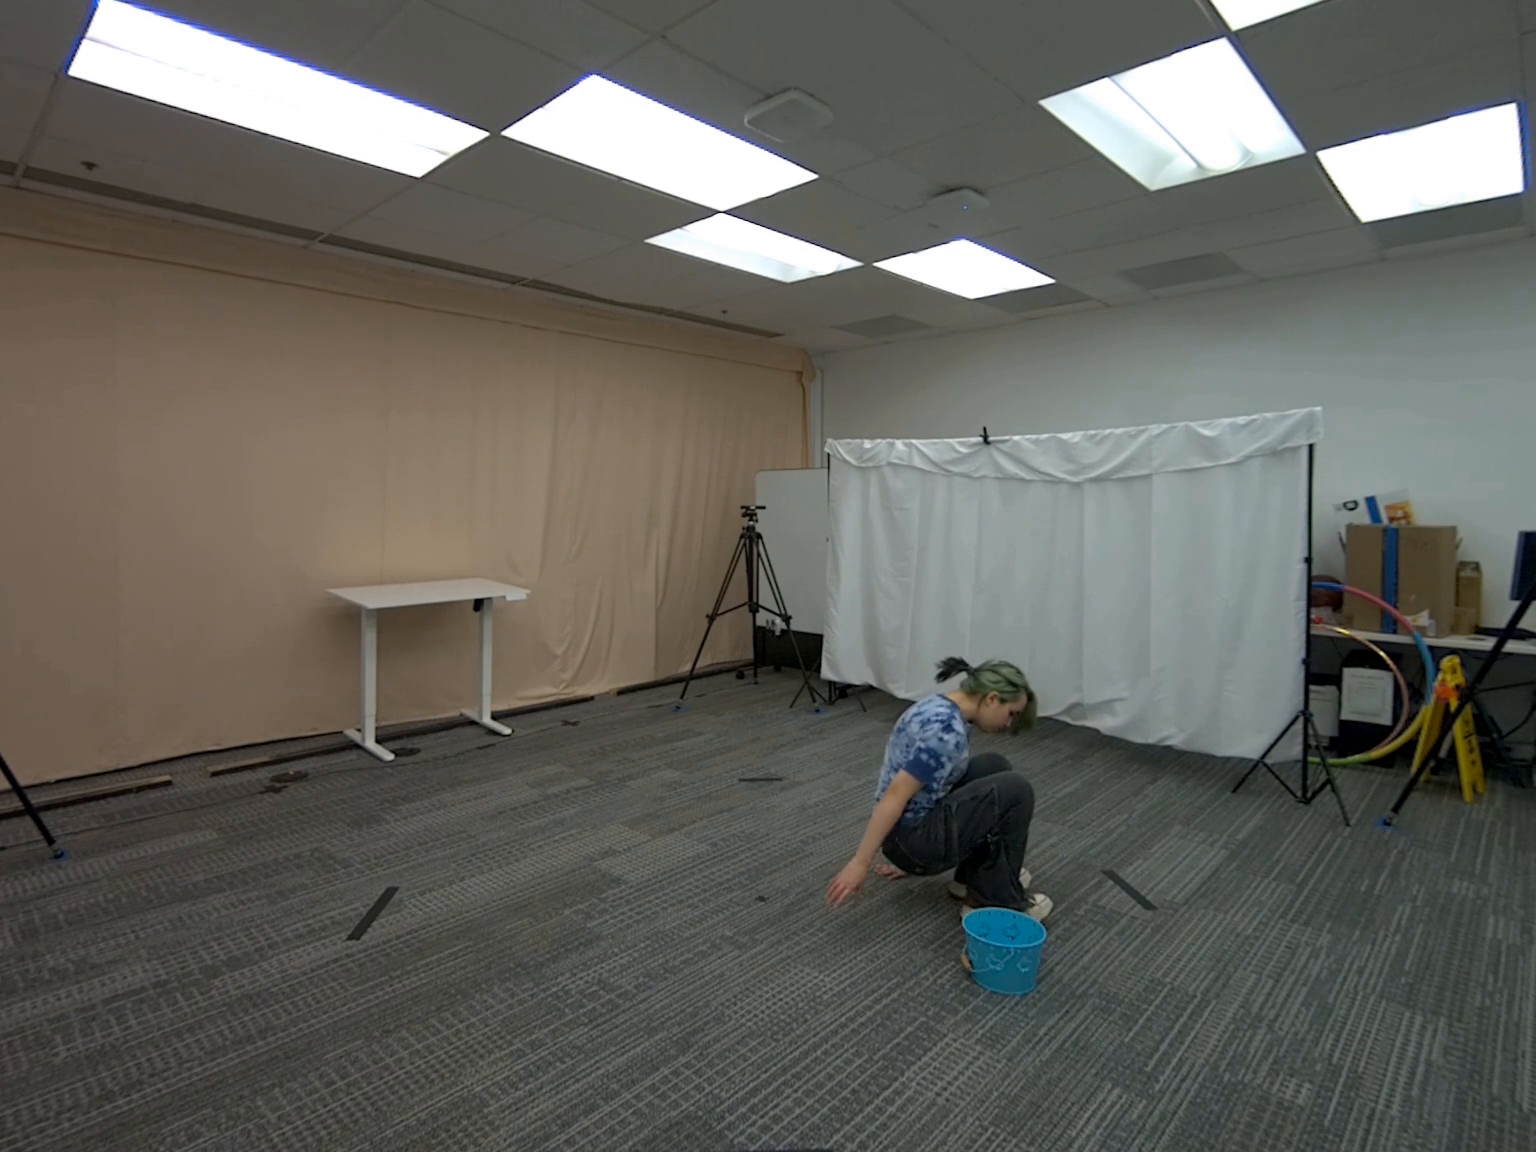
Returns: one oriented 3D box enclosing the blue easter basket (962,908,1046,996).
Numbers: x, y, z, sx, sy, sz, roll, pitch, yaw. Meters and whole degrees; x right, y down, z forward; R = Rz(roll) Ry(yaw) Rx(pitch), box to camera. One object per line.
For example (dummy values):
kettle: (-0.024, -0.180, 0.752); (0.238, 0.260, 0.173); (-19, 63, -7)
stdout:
blue easter basket: (0.694, 1.099, 2.482); (0.243, 0.155, 0.244); (0, 4, -2)
